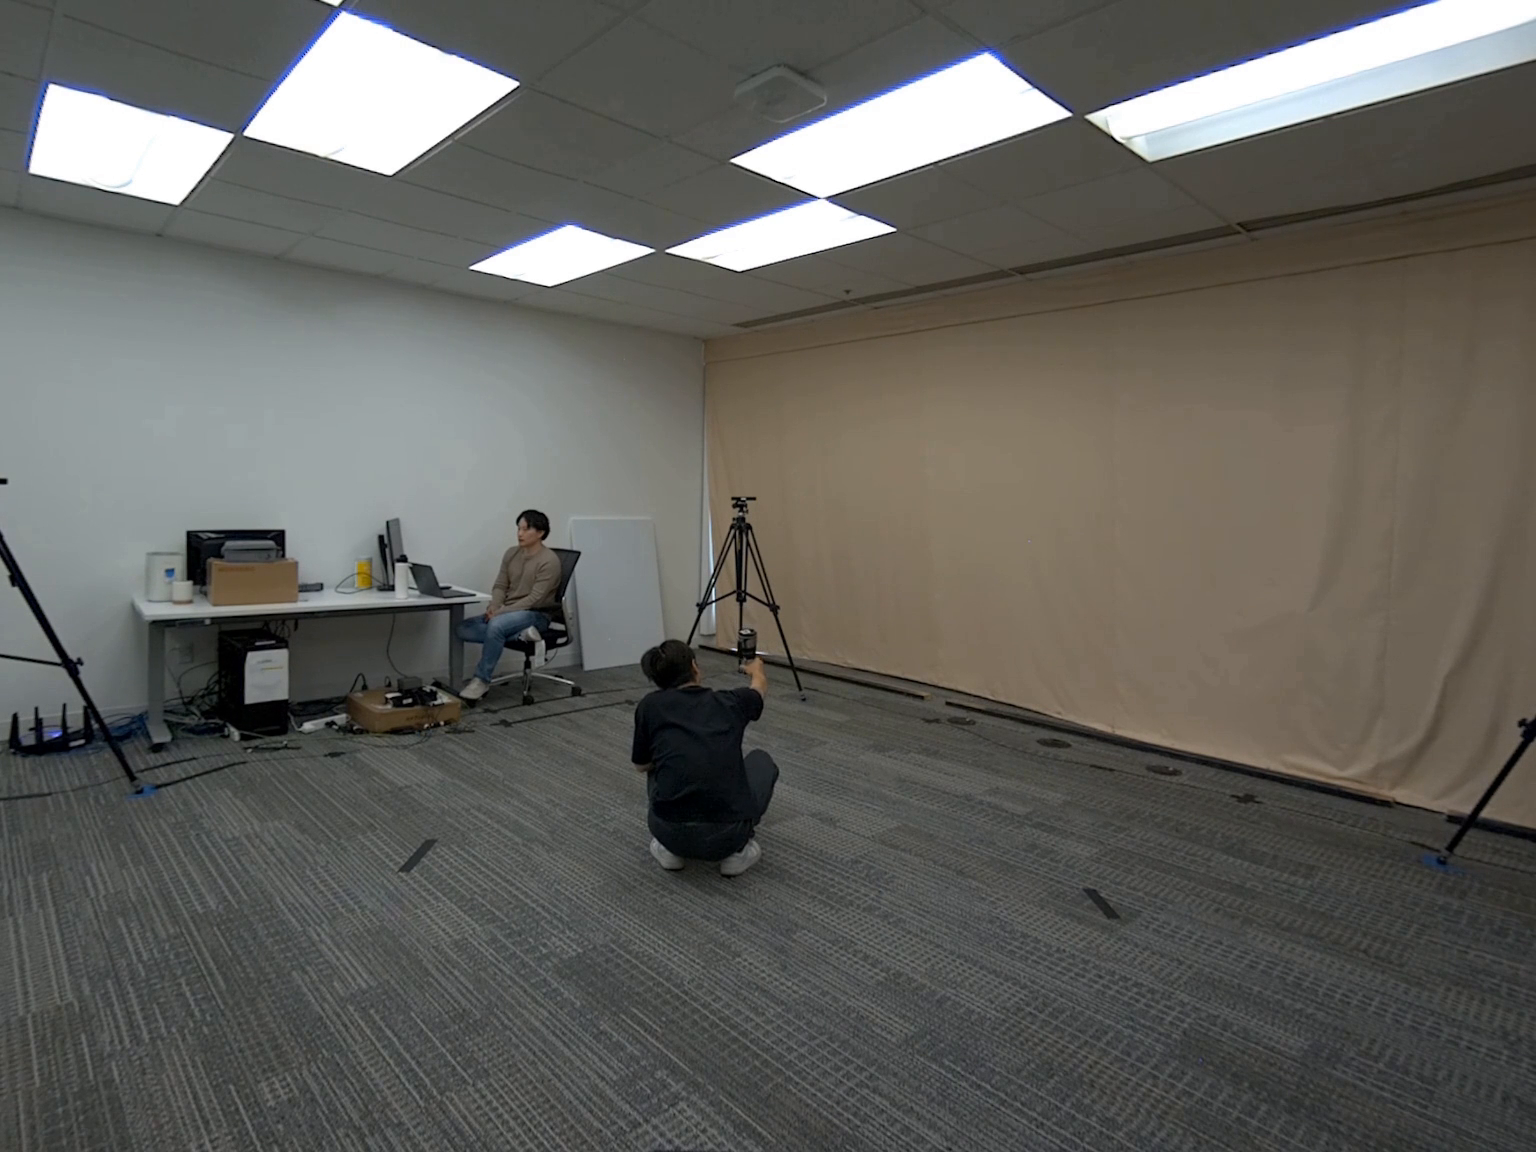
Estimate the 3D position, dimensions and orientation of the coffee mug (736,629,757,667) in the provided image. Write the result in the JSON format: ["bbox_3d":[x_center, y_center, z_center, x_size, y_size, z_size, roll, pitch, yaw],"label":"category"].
[{"bbox_3d":[-0.121,0.362,3.862,0.119,0.201,0.090,-9,20,-40],"label":"coffee mug"}]
